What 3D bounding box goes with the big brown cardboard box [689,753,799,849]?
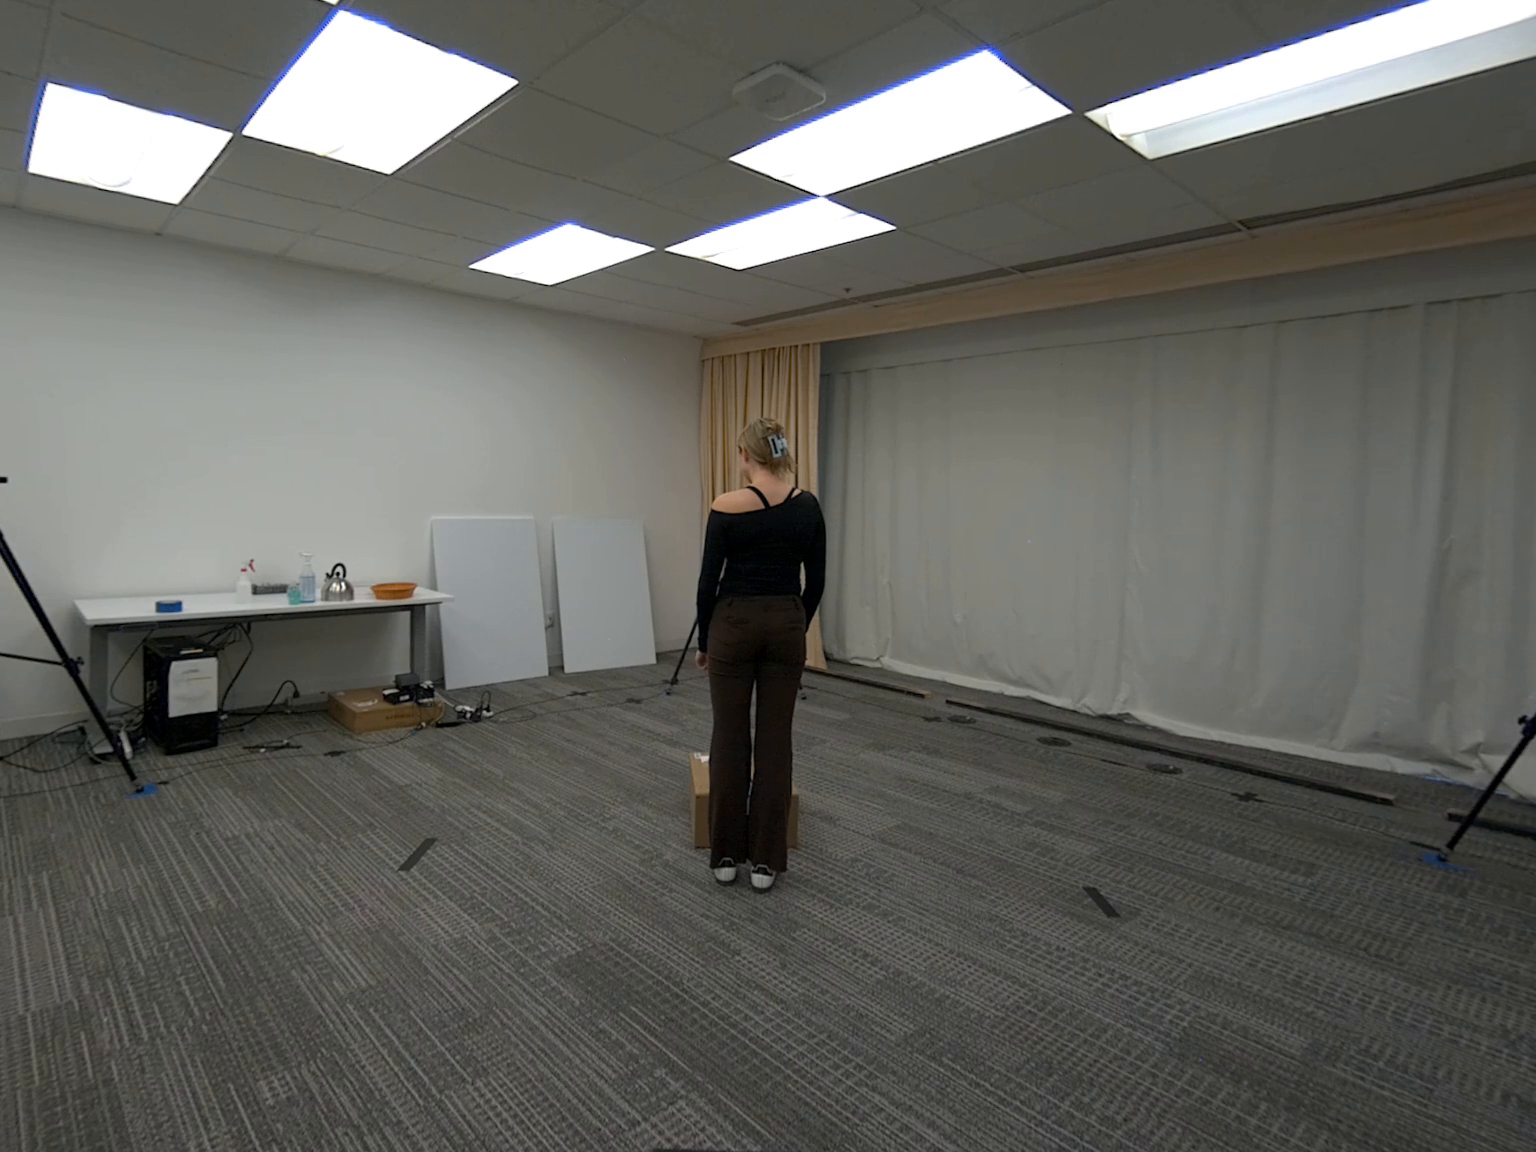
[{"bbox_3d":[-0.124,0.945,3.619,0.415,0.232,0.594,1,6,-7],"label":"big brown cardboard box"}]
